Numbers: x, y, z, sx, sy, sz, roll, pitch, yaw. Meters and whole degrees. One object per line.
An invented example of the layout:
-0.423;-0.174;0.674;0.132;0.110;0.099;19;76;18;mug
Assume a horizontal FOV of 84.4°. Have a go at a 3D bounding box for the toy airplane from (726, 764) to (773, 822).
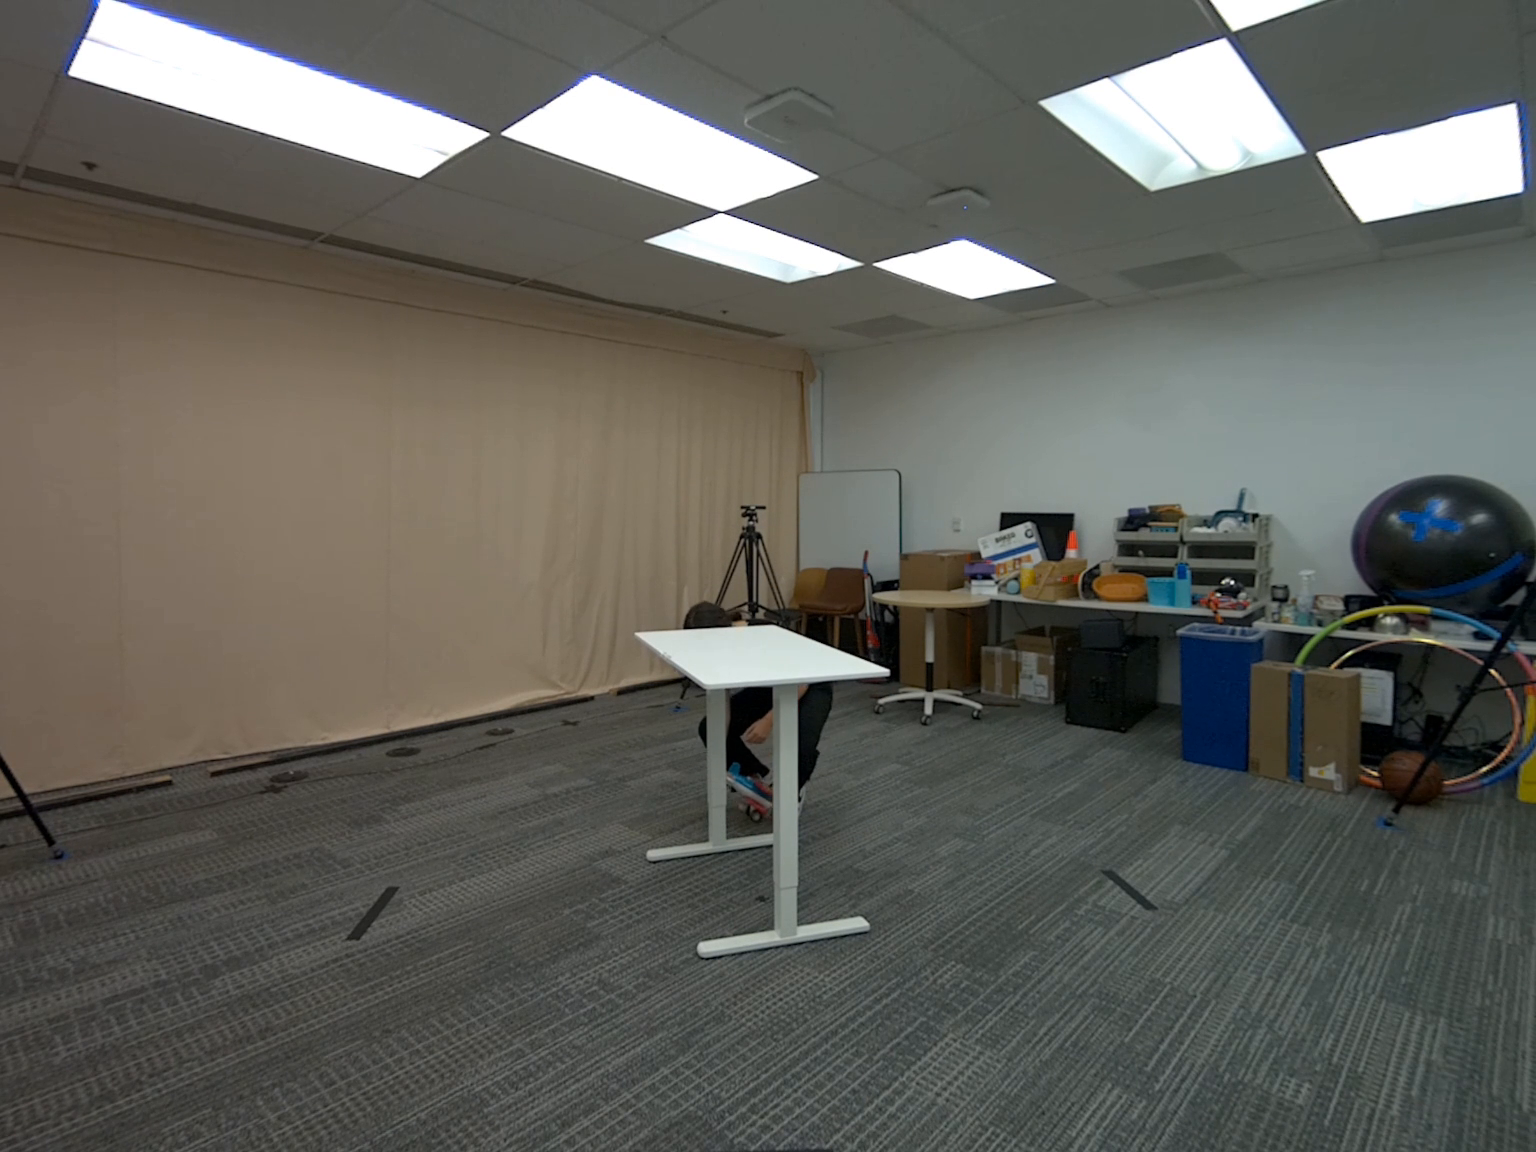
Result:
-0.073;0.946;3.629;0.260;0.156;0.250;29;-14;46;toy airplane
